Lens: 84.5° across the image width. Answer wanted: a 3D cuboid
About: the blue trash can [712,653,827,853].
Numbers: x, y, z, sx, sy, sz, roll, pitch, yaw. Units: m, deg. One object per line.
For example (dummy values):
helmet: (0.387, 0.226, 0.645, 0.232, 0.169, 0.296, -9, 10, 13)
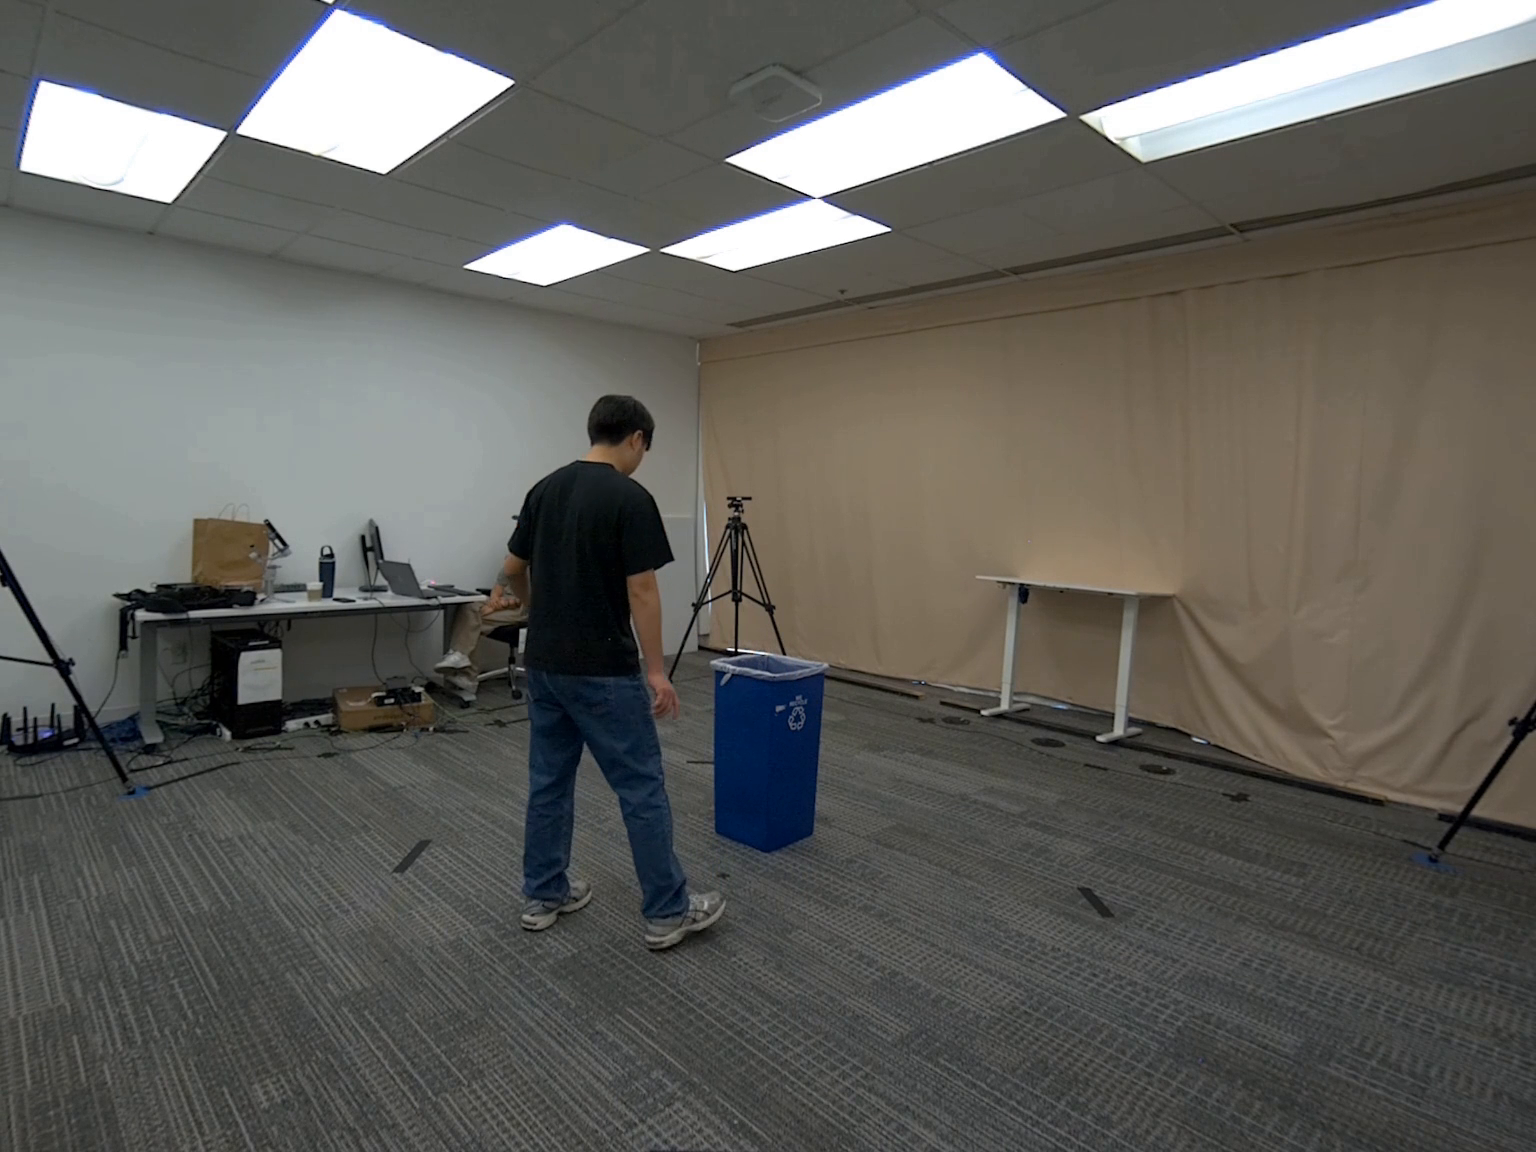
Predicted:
blue trash can: (-0.009, 0.717, 3.507, 0.388, 0.712, 0.365, 5, 5, 42)
